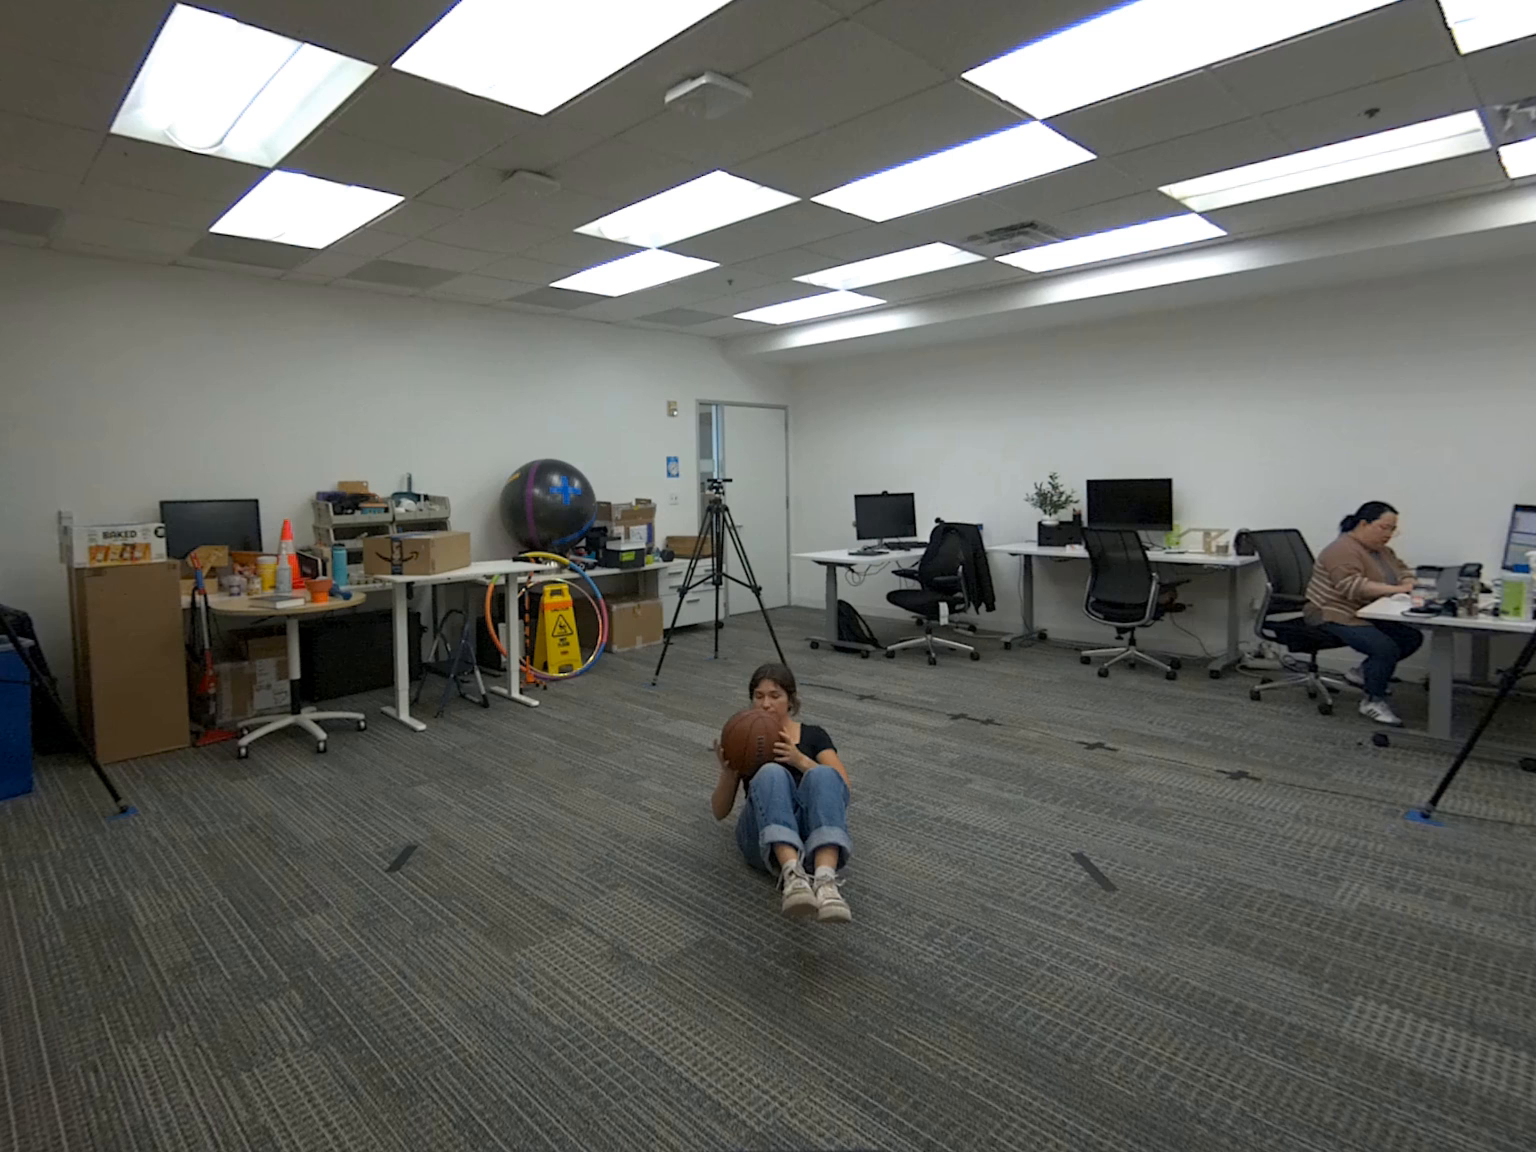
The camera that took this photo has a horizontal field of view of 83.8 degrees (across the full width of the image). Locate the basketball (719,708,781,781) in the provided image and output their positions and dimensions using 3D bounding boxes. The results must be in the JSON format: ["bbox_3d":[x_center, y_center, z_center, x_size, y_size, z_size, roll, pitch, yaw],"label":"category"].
[{"bbox_3d":[-0.056,0.617,3.122,0.236,0.235,0.237,-1,5,-2],"label":"basketball"}]
